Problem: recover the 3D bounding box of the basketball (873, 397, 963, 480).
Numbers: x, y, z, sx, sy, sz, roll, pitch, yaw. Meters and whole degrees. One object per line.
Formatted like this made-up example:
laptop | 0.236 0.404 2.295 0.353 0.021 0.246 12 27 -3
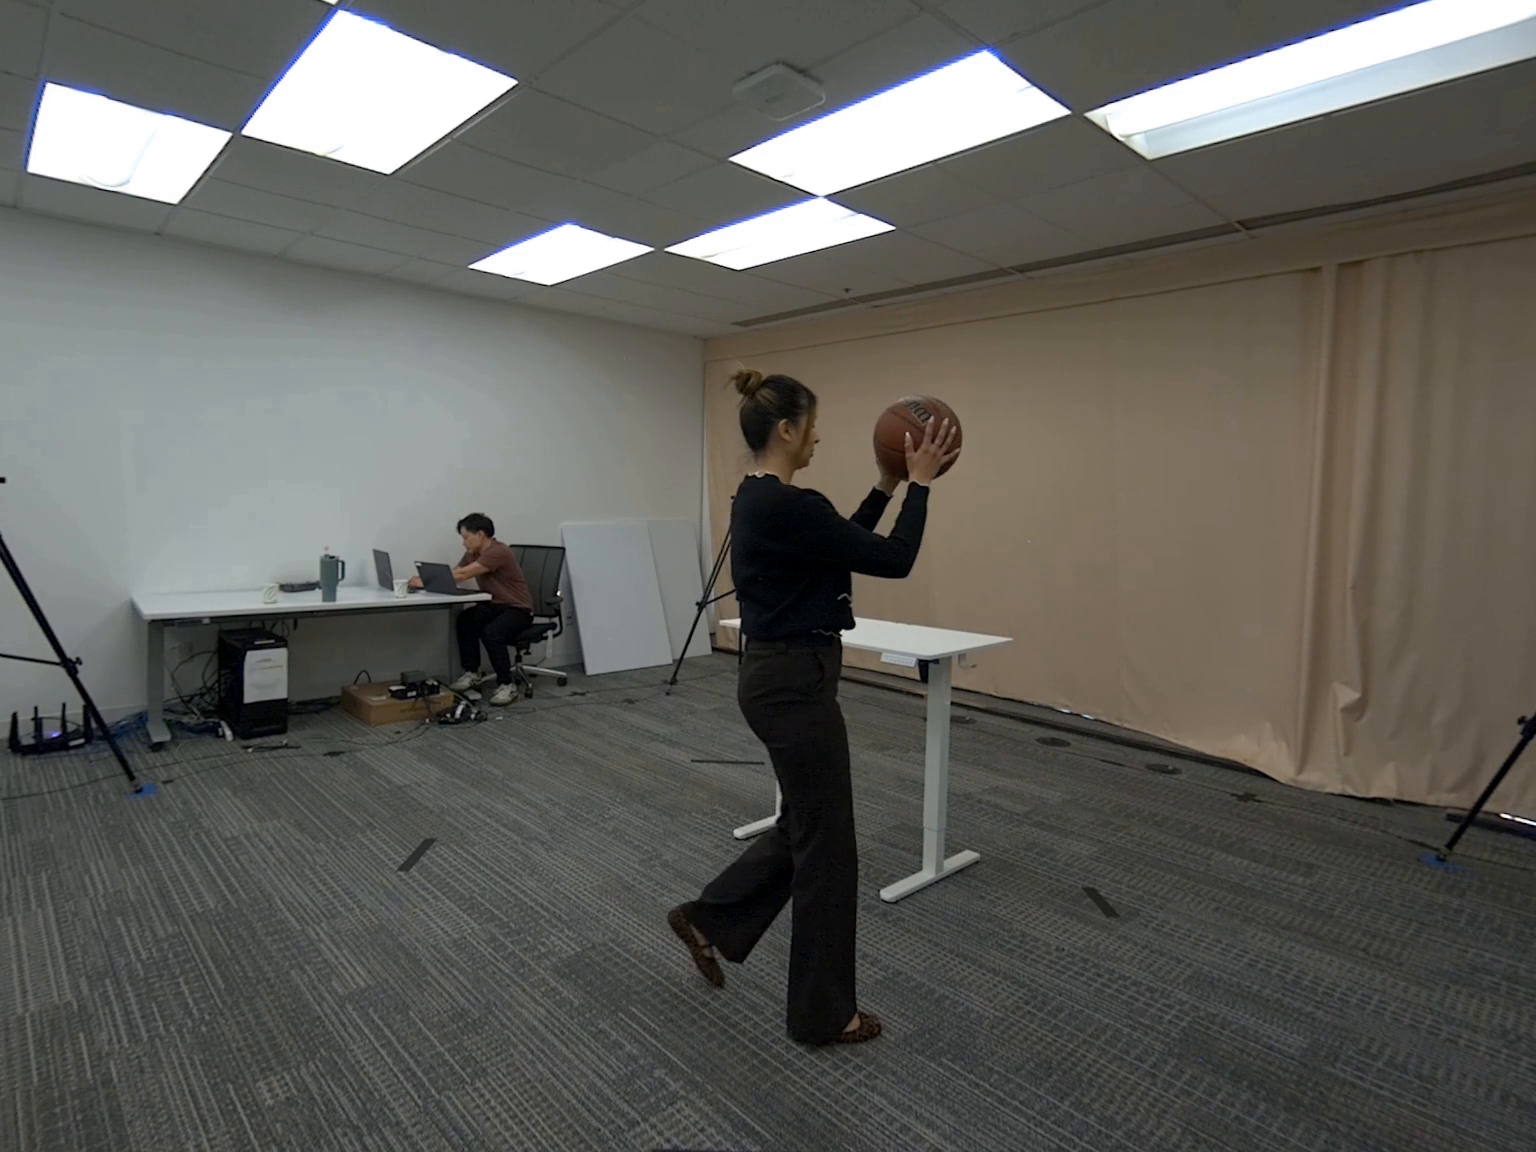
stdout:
basketball | 0.393 -0.370 2.285 0.236 0.235 0.237 1 4 -1
